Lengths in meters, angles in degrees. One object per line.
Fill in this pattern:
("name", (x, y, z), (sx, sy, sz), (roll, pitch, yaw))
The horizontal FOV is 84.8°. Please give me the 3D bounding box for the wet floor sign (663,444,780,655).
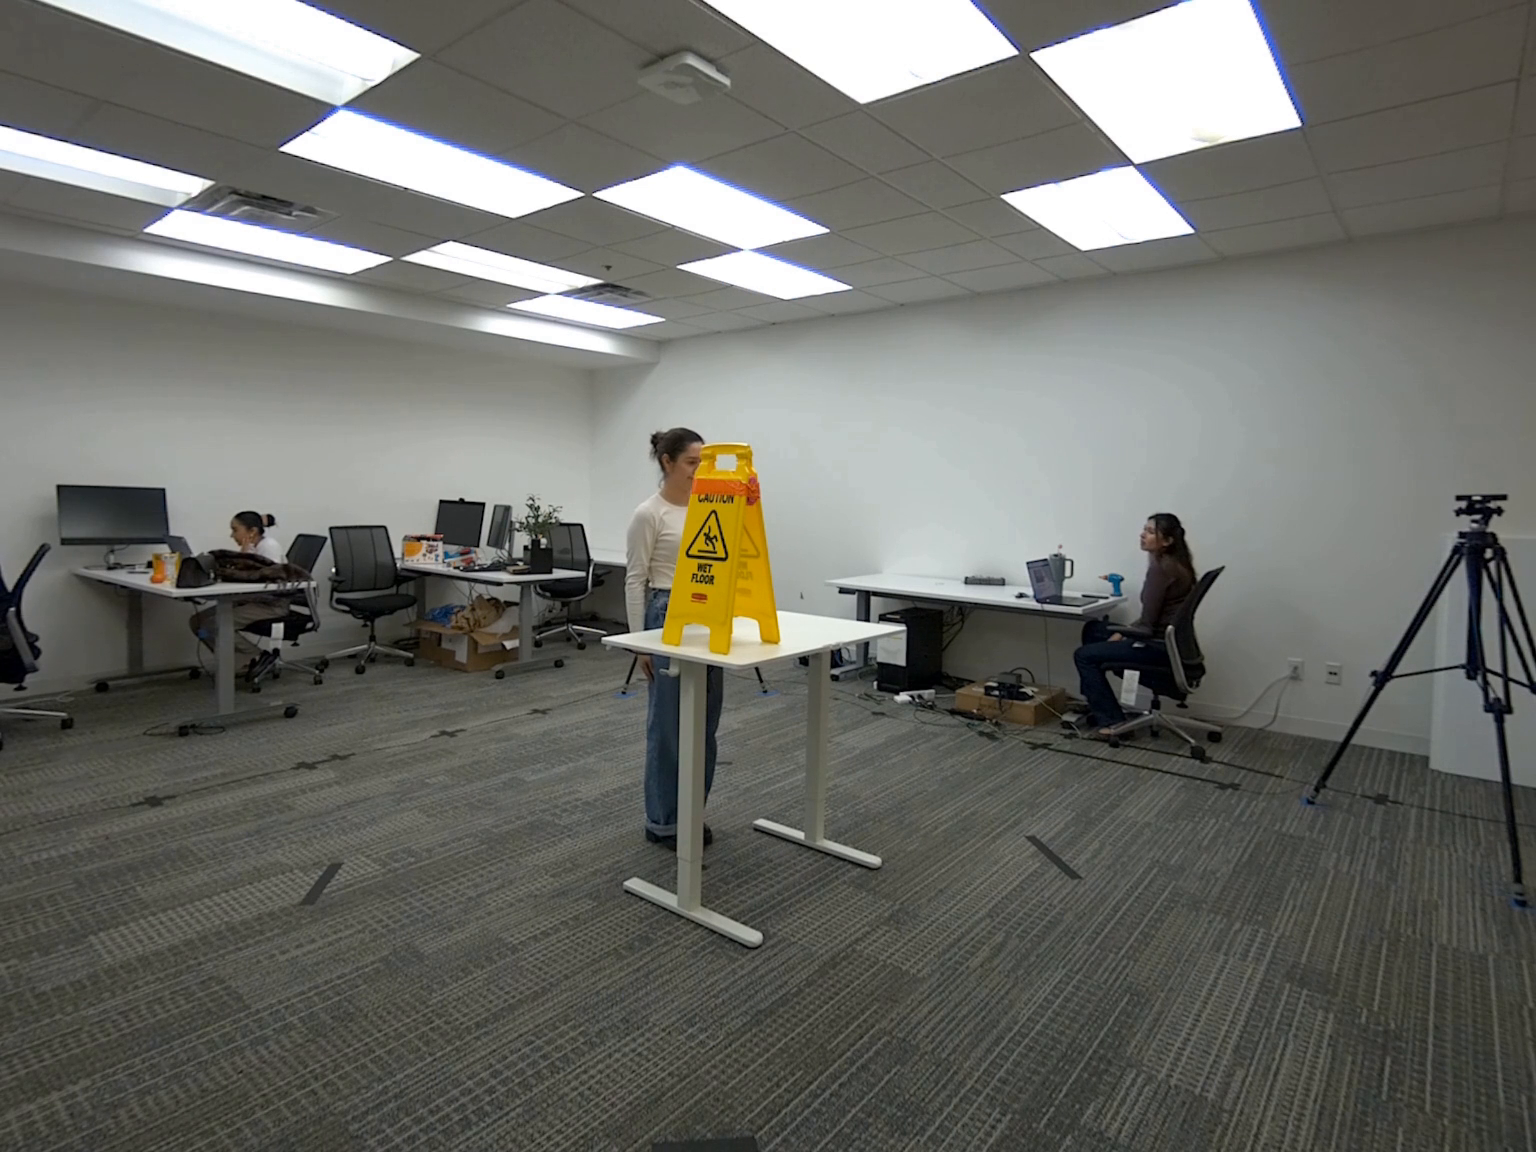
("wet floor sign", (-0.153, -0.103, 2.748), (0.291, 0.644, 0.281), (3, 4, 38))
